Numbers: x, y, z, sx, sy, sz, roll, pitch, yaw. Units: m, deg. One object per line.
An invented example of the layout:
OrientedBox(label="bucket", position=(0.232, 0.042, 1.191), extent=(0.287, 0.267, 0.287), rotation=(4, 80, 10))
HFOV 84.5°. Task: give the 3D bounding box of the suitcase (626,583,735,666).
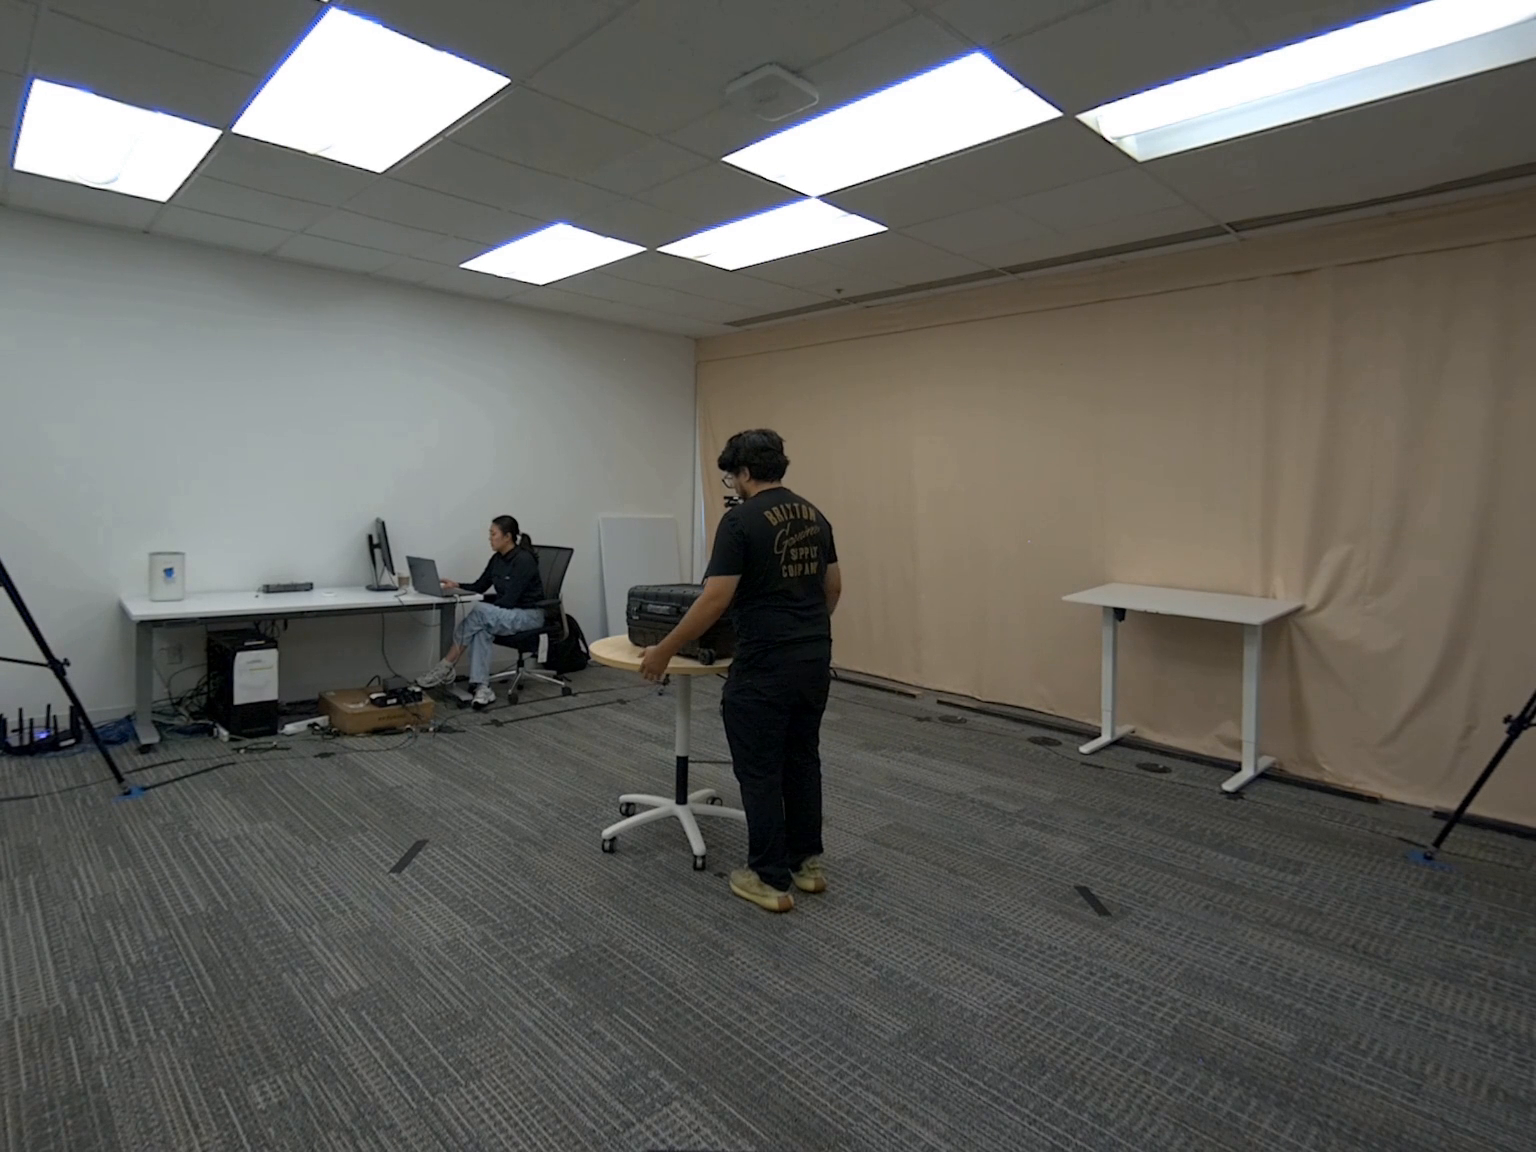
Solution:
OrientedBox(label="suitcase", position=(-0.294, 0.170, 3.353), extent=(0.367, 0.248, 0.563), rotation=(-3, 5, -43))
